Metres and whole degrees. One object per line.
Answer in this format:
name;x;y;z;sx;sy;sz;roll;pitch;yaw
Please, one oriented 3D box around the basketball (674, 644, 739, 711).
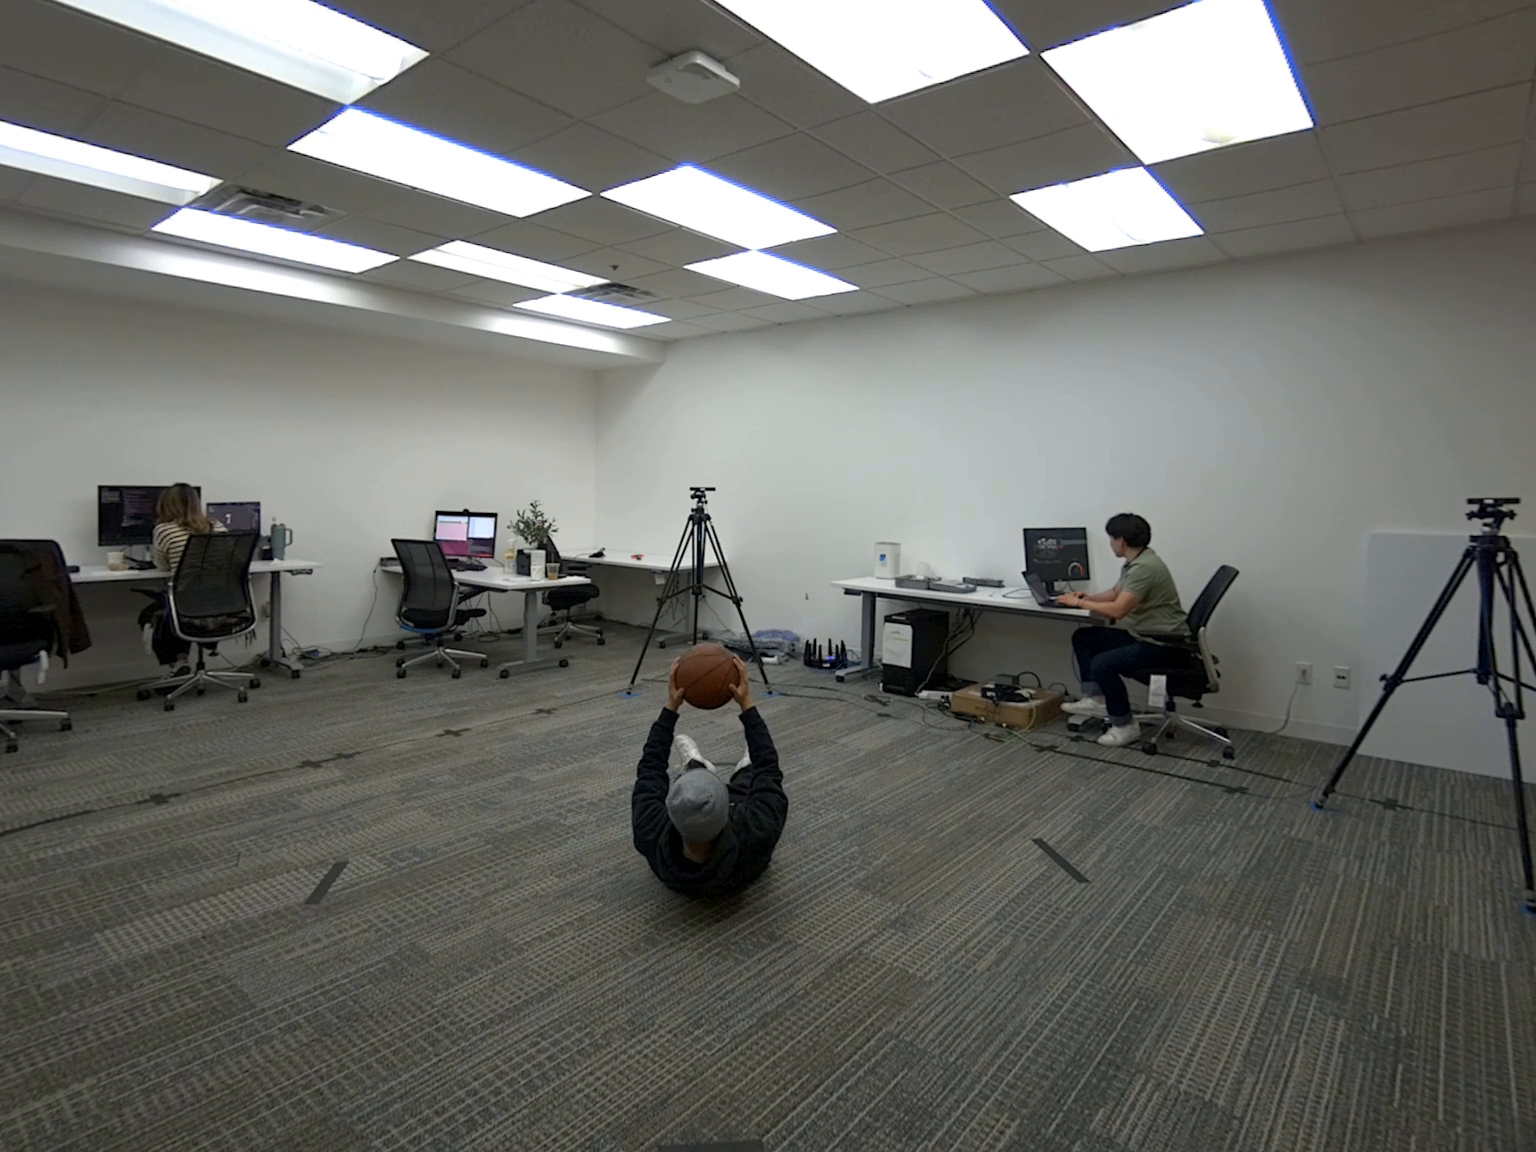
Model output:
basketball;-0.223;0.362;3.084;0.235;0.235;0.237;1;4;-2
